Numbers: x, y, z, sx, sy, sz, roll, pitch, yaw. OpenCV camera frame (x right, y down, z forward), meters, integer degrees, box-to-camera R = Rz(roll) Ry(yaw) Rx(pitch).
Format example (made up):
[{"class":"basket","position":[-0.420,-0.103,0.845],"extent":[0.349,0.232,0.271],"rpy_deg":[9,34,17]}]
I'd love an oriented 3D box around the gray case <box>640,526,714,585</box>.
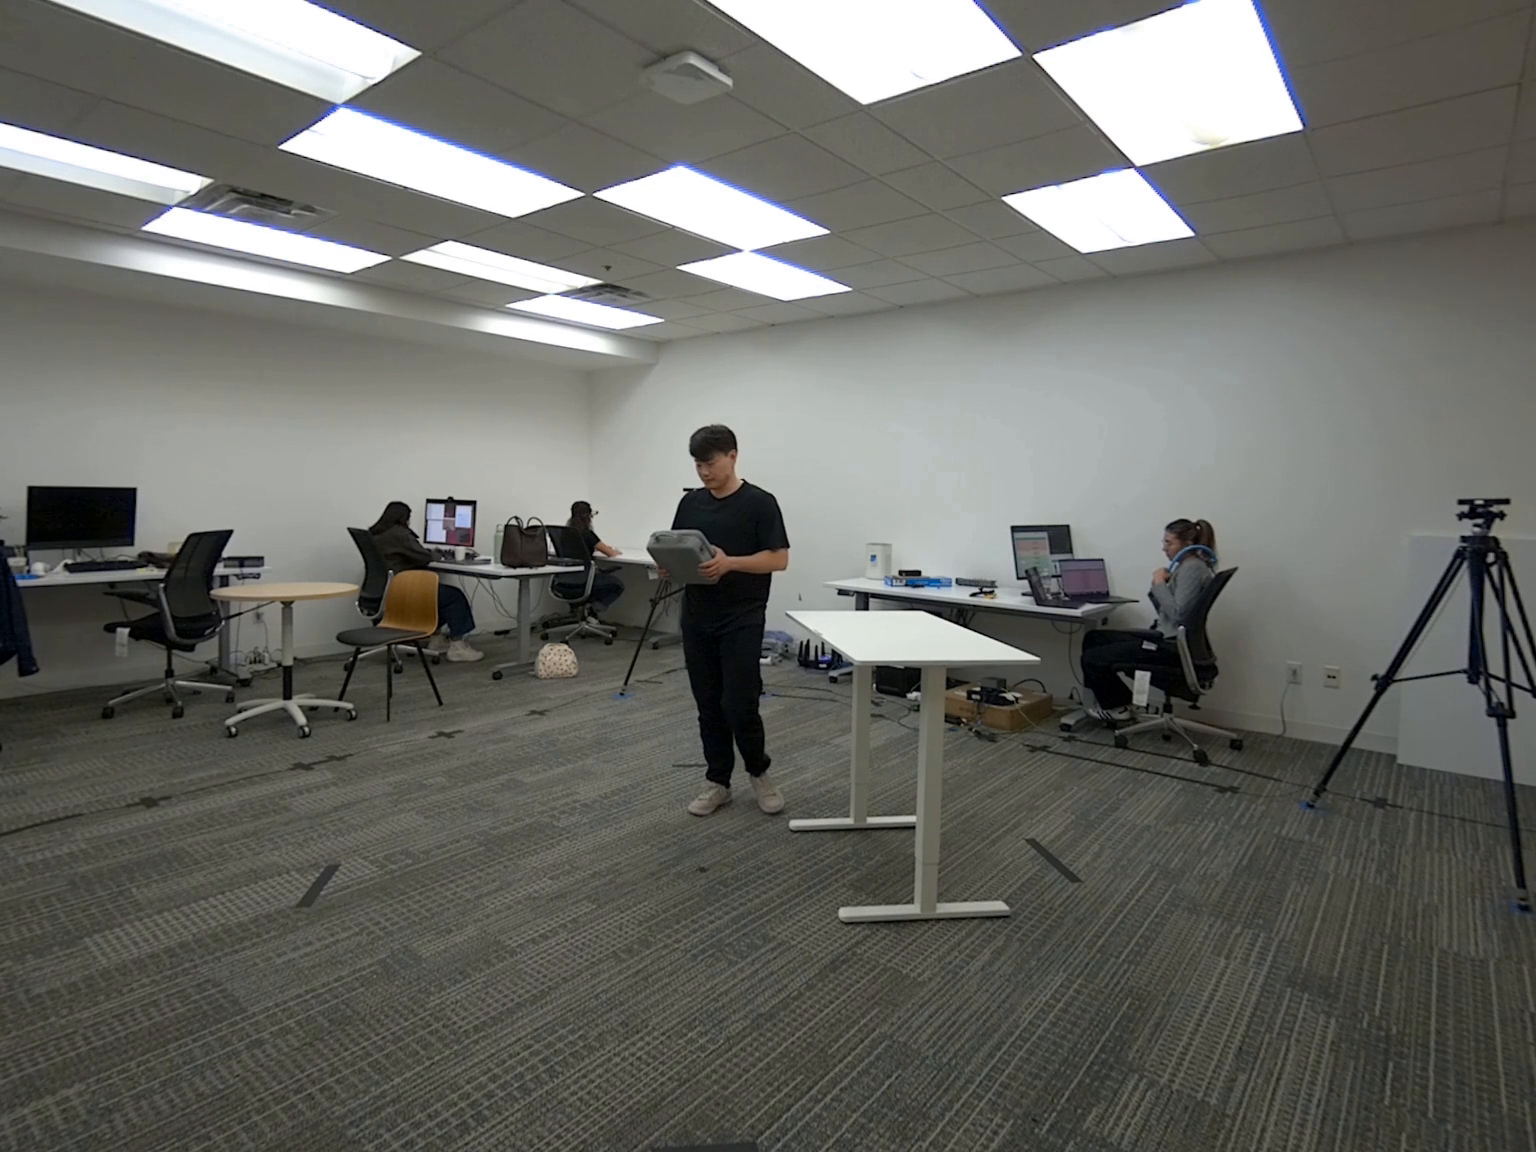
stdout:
[{"class":"gray case","position":[-0.348,-0.085,3.495],"extent":[0.264,0.105,0.250],"rpy_deg":[1,-39,34]}]
